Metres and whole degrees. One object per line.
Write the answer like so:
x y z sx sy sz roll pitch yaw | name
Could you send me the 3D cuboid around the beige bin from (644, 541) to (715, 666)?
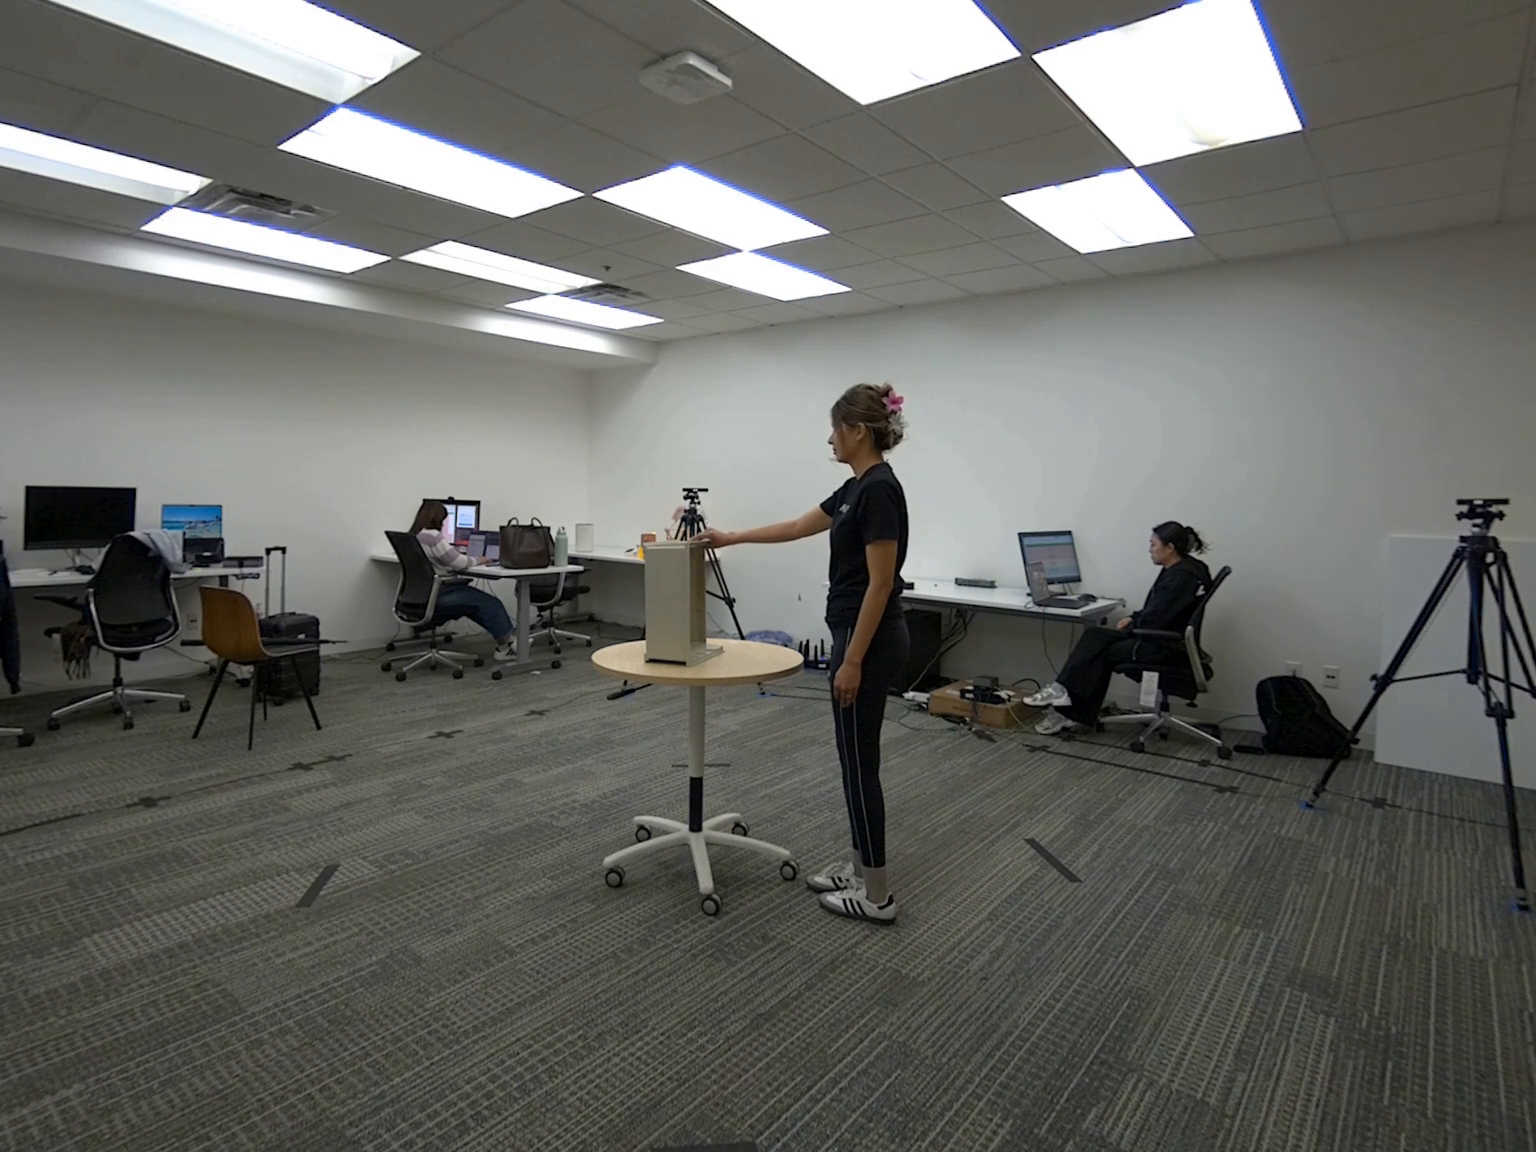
-0.302 0.076 3.074 0.193 0.421 0.369 0 3 22 | beige bin
